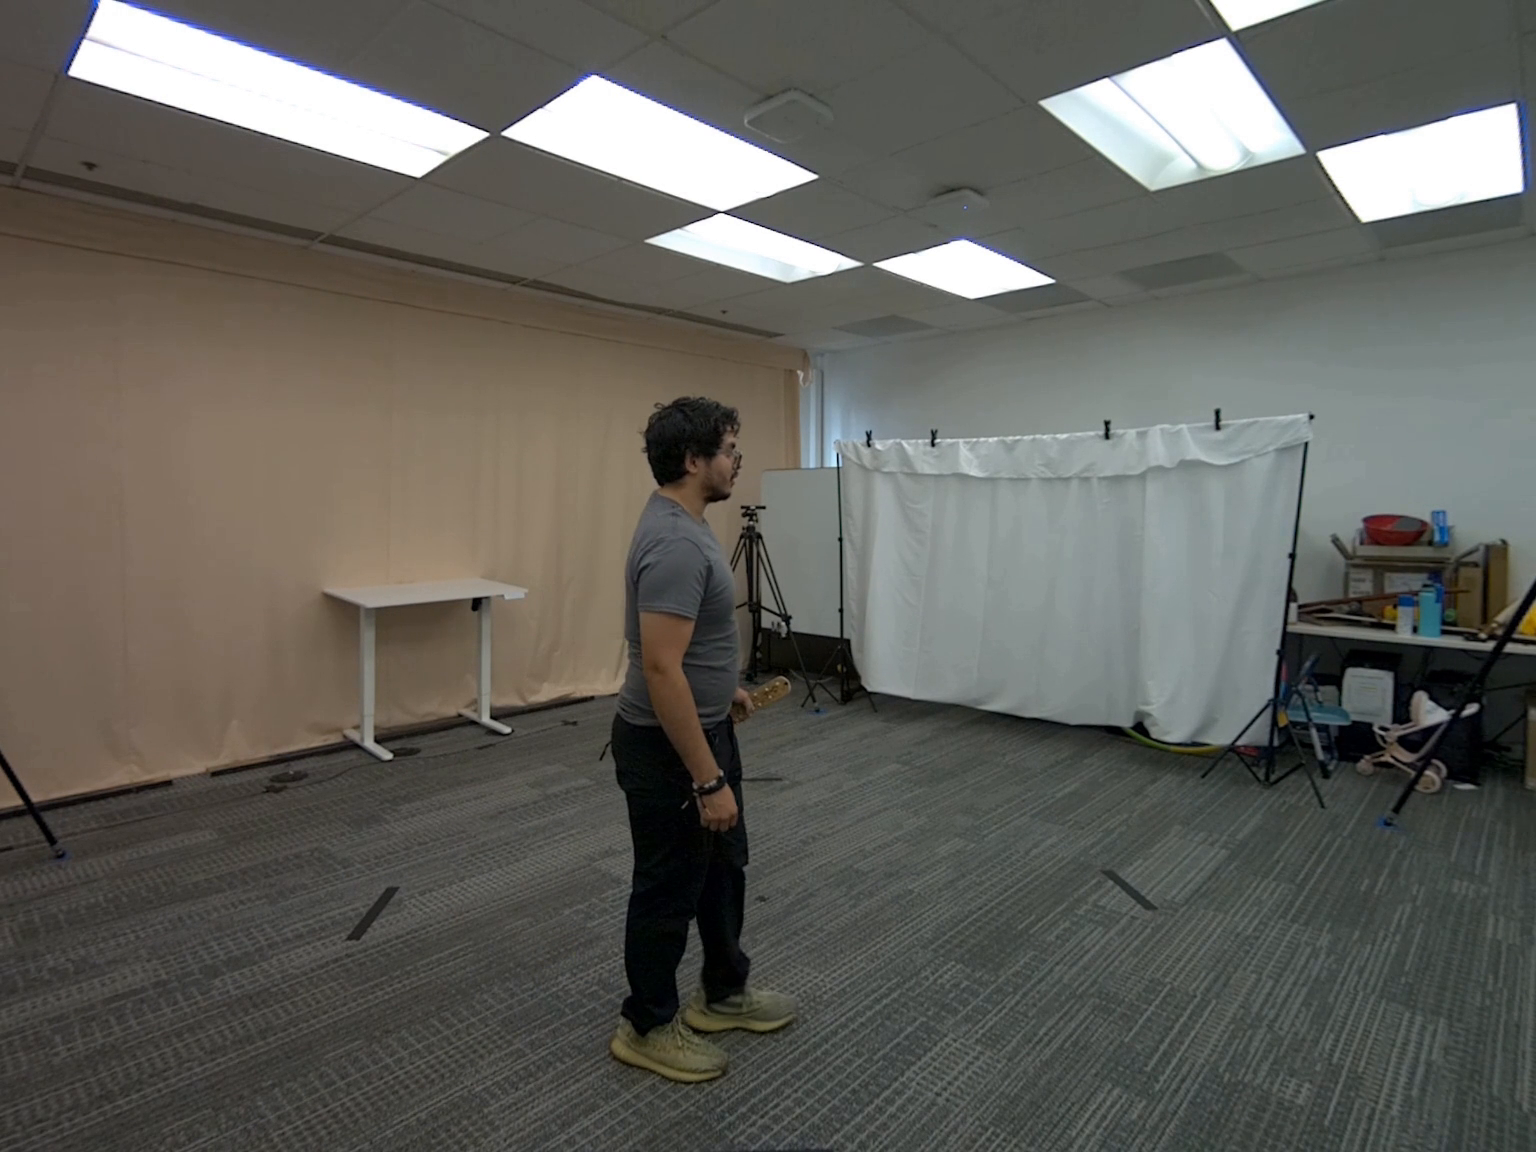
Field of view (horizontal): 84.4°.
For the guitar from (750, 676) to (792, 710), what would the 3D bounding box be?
[{"bbox_3d":[-0.133,0.455,2.453,0.503,0.195,0.069,-22,-13,14],"label":"guitar"}]
